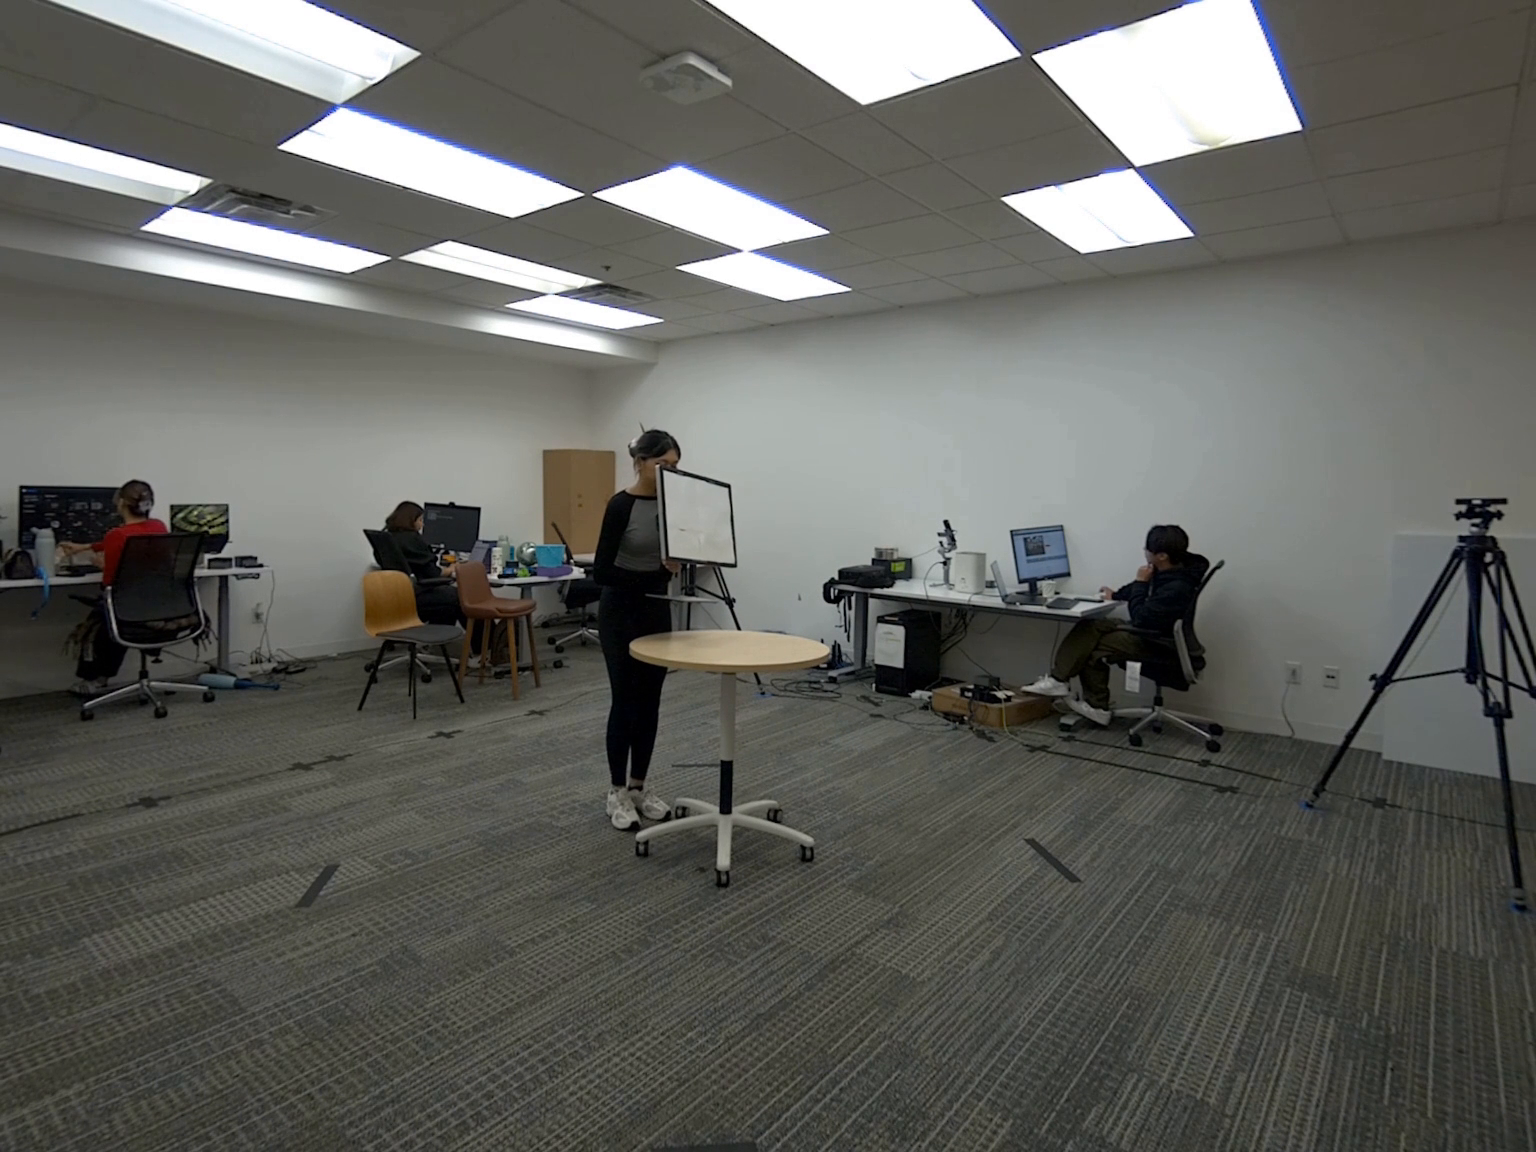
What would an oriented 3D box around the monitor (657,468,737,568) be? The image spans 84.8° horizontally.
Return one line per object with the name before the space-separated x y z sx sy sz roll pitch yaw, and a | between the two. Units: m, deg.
monitor | -0.329 -0.150 3.417 0.192 0.523 0.524 6 0 24
